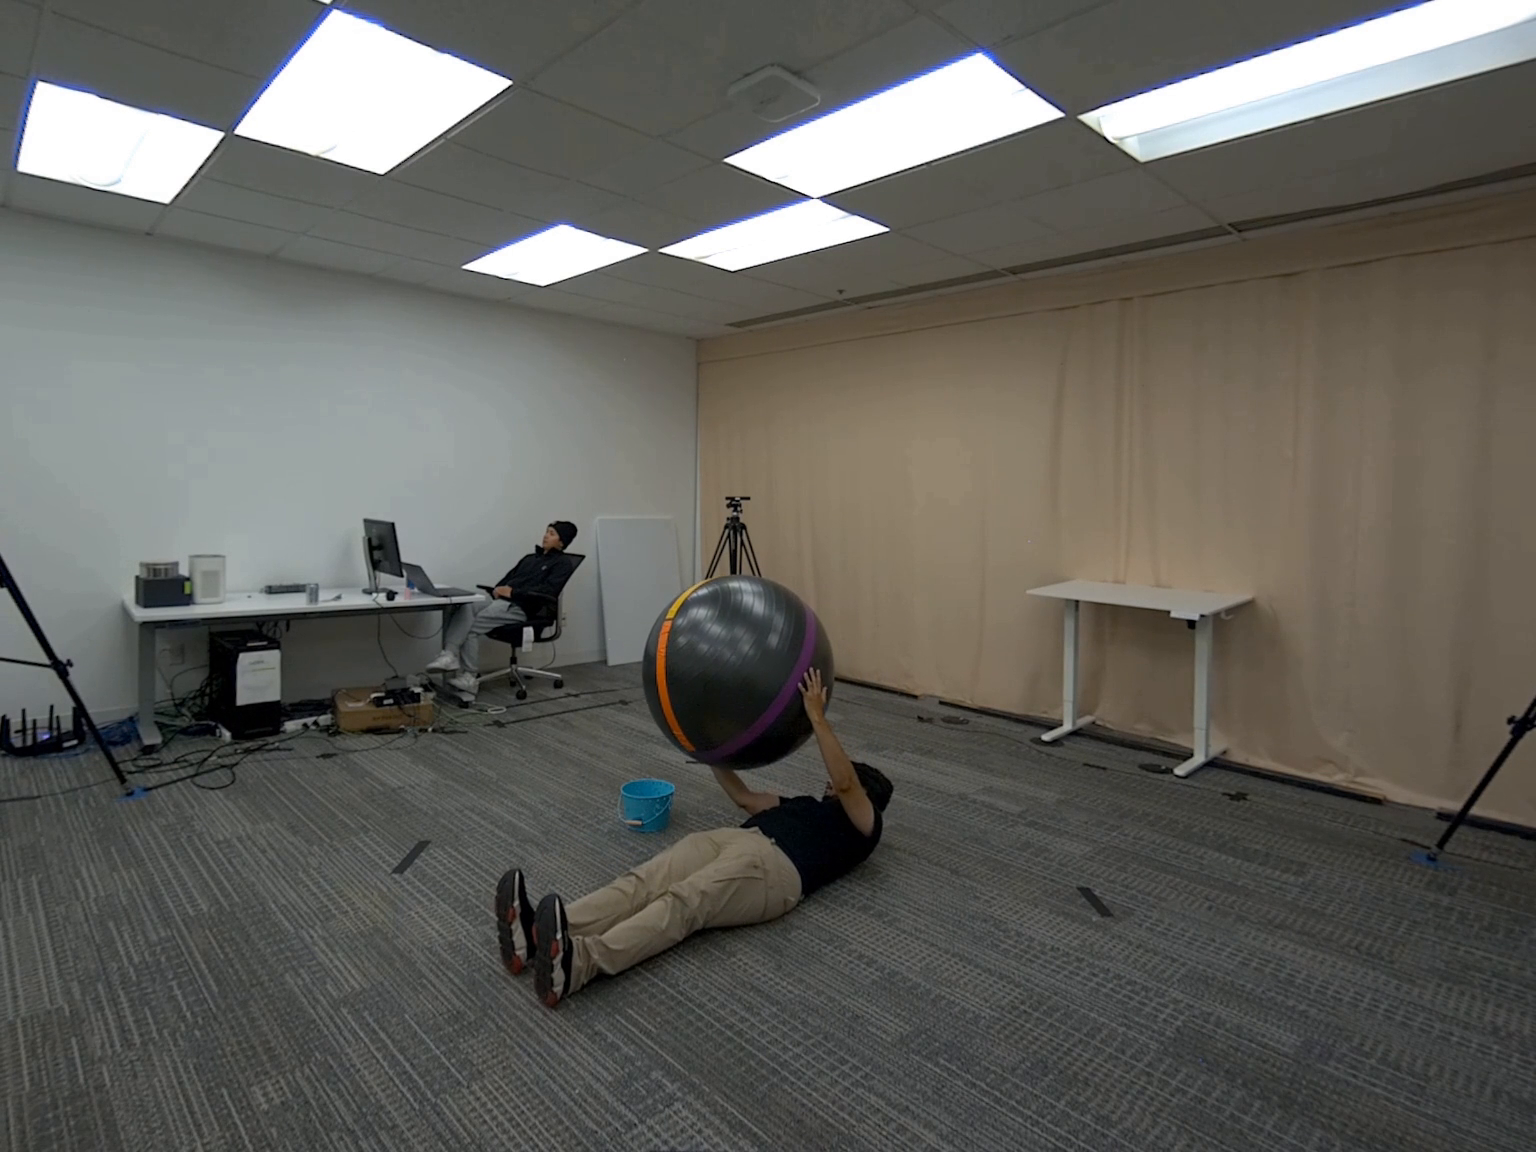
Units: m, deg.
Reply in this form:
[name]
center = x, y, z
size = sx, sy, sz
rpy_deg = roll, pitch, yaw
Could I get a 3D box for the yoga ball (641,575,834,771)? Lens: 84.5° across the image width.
[yoga ball]
center = -0.126, 0.377, 3.323
size = 0.757, 0.755, 0.761
rpy_deg = 1, 5, -1
